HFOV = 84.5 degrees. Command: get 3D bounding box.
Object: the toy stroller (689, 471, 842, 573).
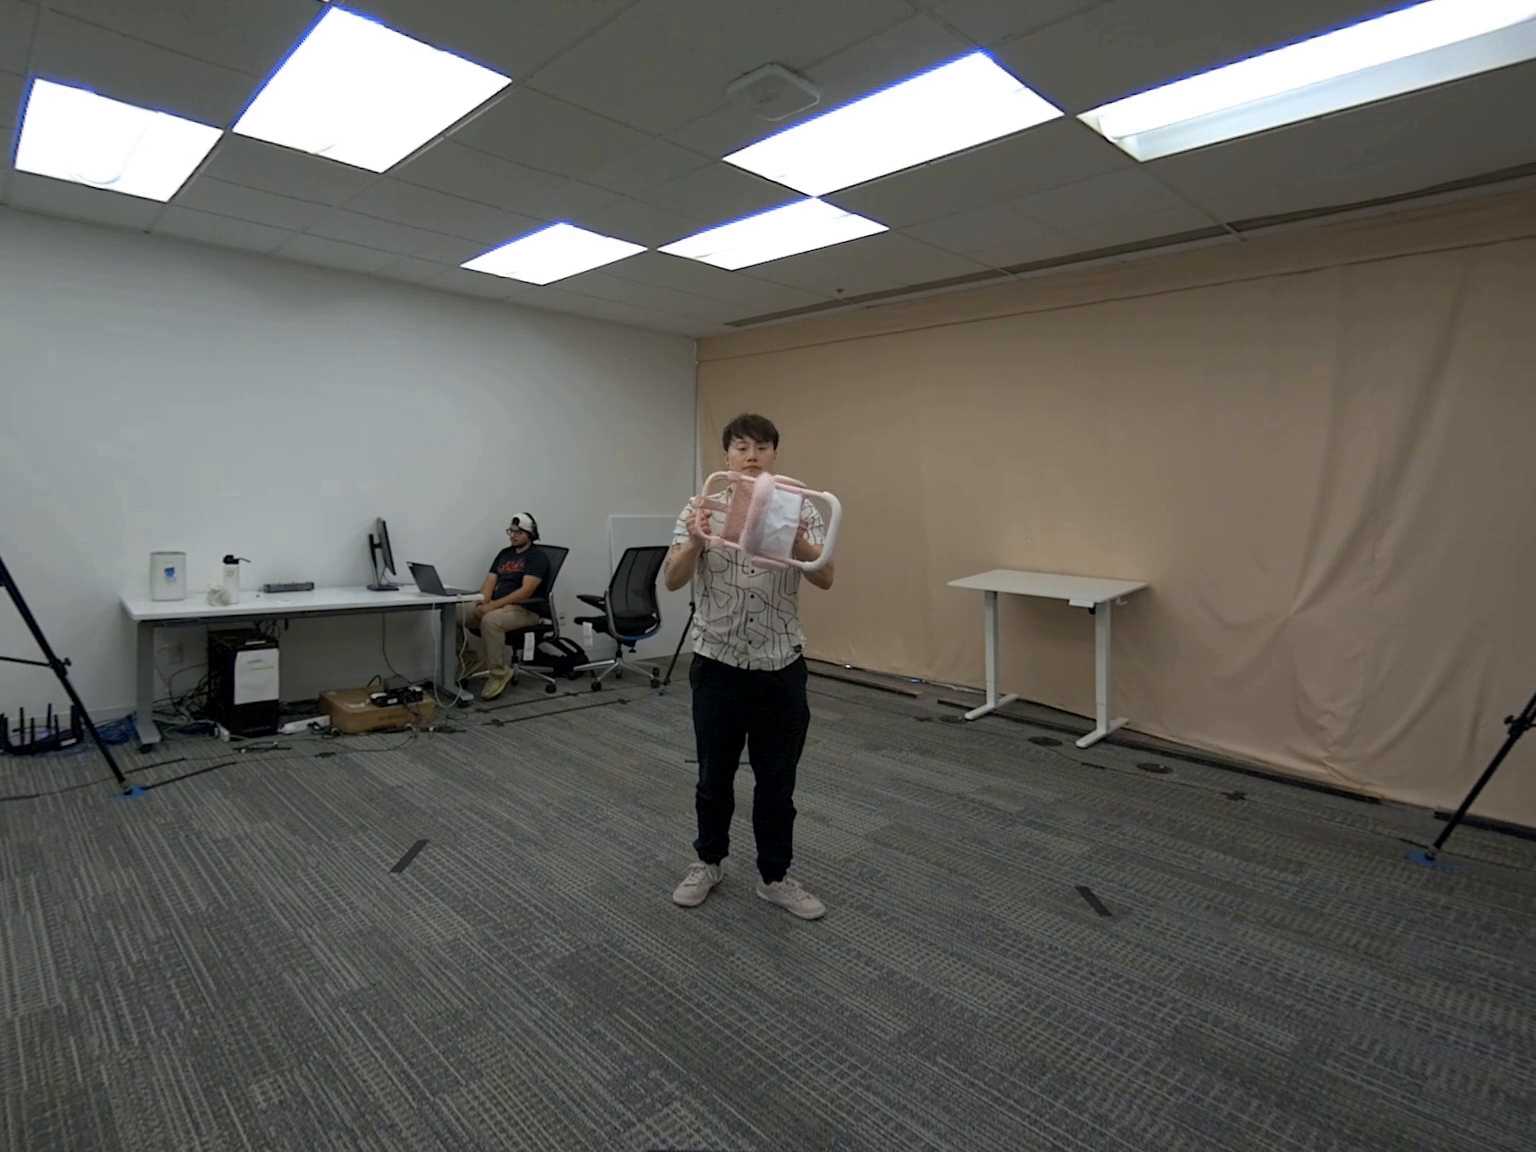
[{"bbox_3d":[-0.051,-0.166,2.350,0.337,0.281,0.541,18,2,-12],"label":"toy stroller"}]
